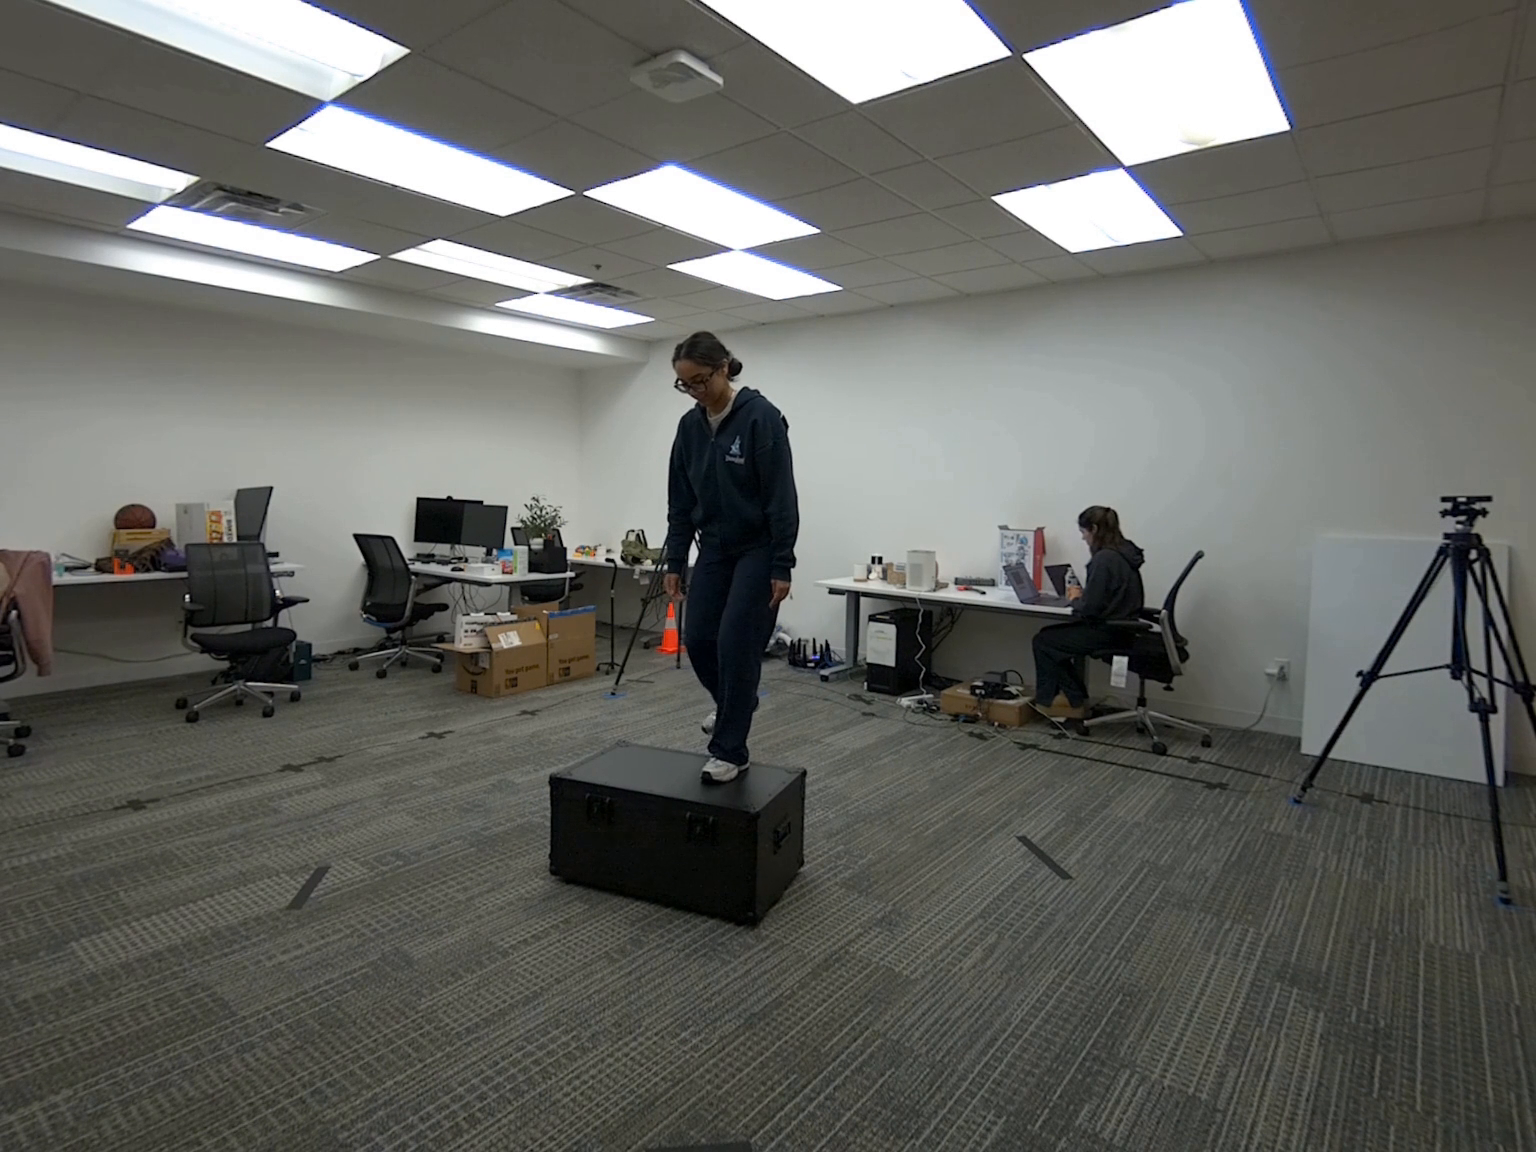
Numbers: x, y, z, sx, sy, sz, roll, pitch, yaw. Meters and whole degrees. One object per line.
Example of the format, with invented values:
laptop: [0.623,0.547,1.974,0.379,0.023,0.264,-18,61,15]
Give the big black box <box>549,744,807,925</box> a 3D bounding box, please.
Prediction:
big black box: [-0.356,0.880,3.054,0.882,0.395,0.511,4,5,22]
